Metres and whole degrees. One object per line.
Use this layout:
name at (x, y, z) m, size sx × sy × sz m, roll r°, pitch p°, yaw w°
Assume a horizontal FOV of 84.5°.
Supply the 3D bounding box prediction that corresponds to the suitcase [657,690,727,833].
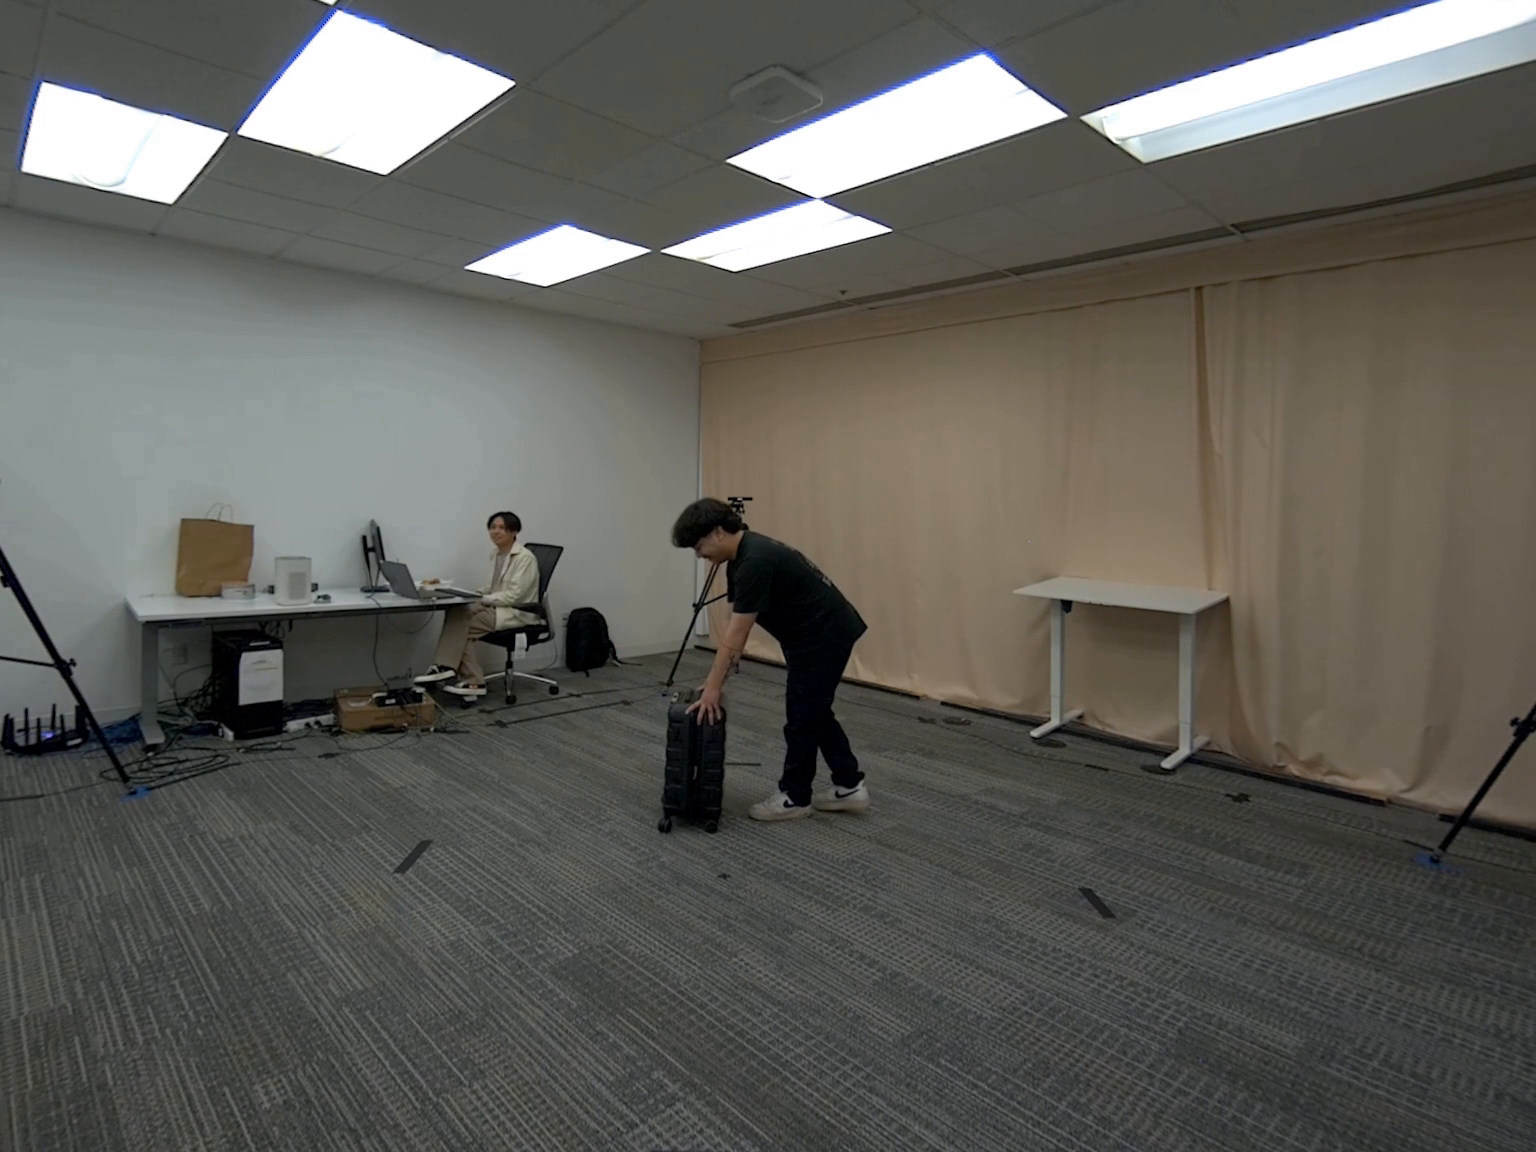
suitcase at (-0.322, 0.781, 3.656) m, size 0.248 × 0.548 × 0.377 m, roll 3°, pitch 3°, yaw -3°
